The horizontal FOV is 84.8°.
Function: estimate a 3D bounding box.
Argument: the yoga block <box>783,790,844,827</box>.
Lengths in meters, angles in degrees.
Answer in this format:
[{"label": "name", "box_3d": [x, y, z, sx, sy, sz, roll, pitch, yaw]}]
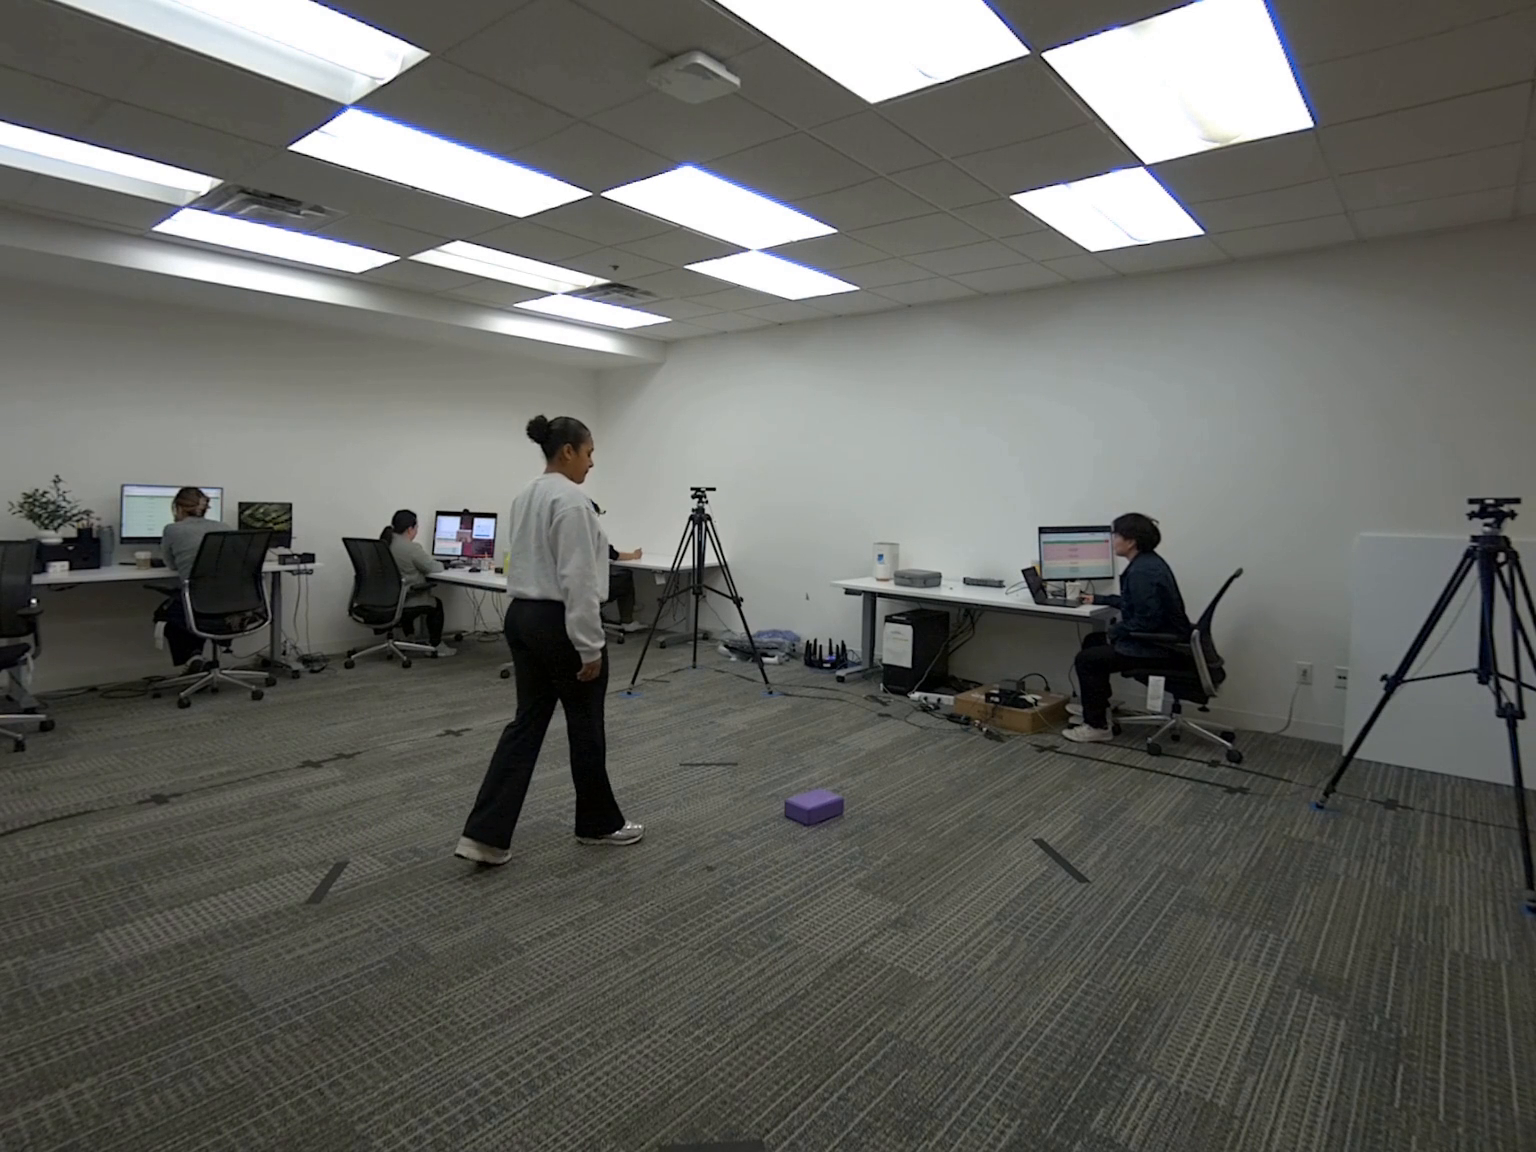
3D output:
[{"label": "yoga block", "box_3d": [0.189, 0.984, 3.643, 0.222, 0.076, 0.154, -3, 7, -42]}]
